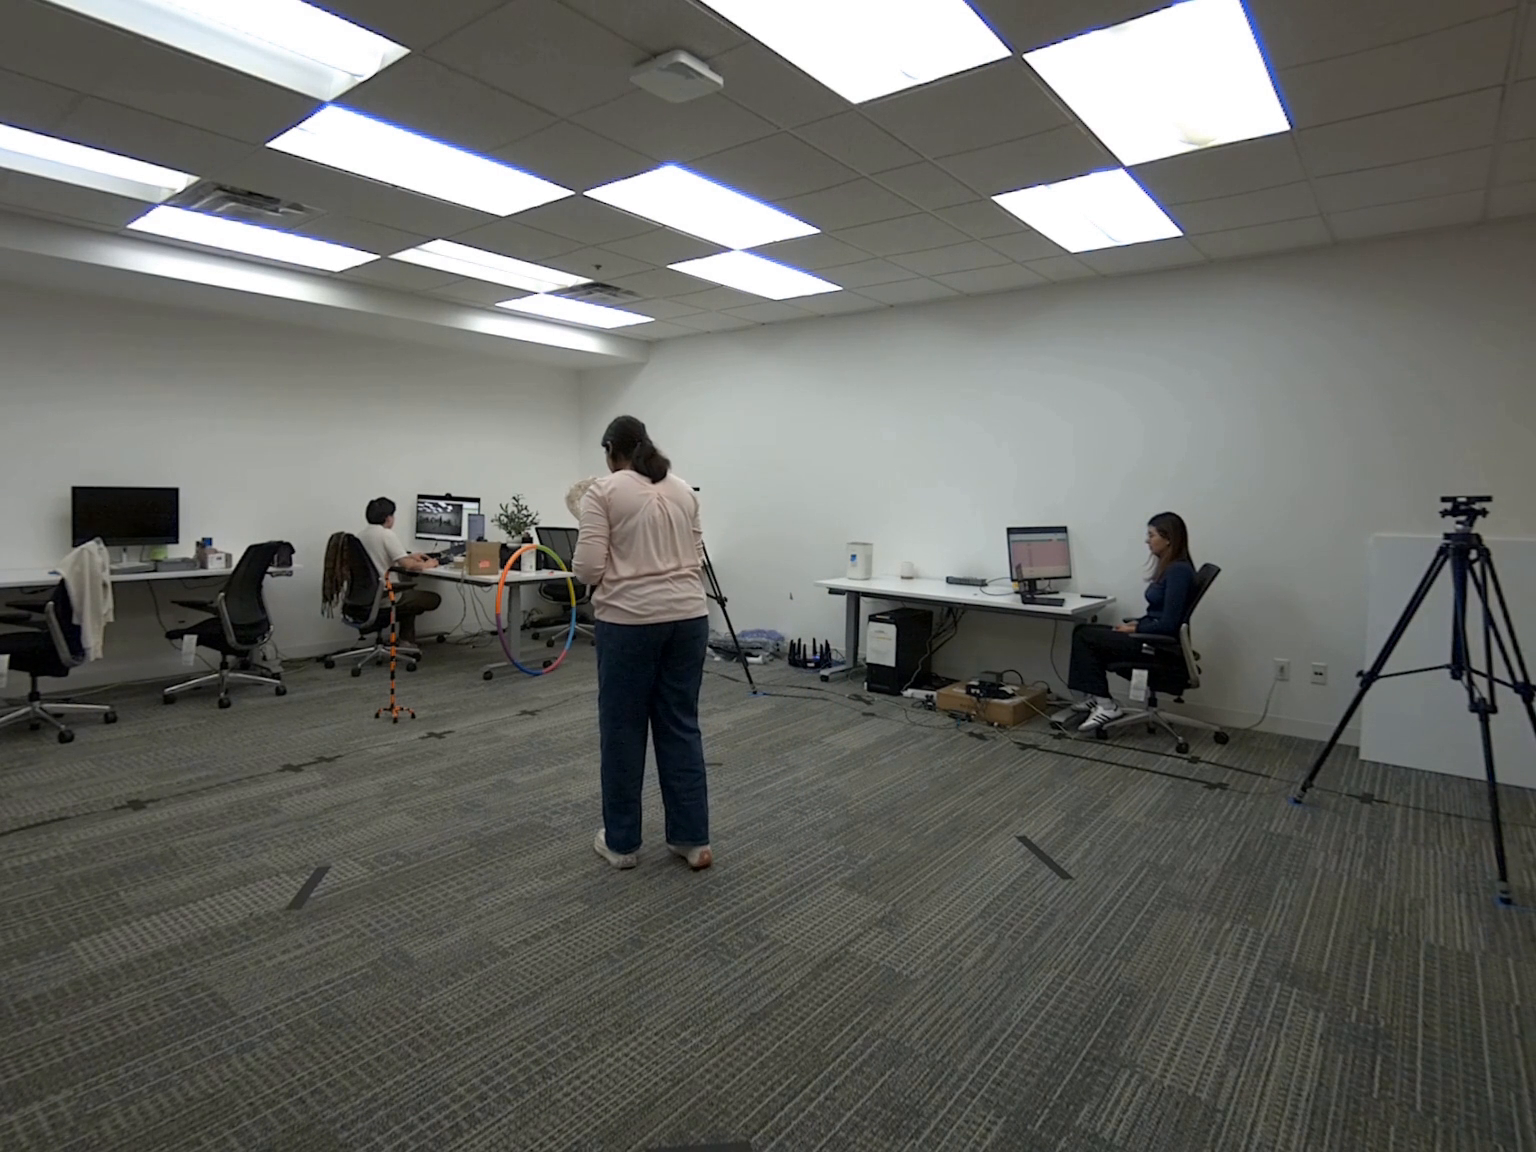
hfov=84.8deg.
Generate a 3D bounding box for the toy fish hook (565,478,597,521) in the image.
[{"bbox_3d":[-0.650,-0.218,3.415,0.223,0.525,0.047,-28,-31,-13],"label":"toy fish hook"}]
